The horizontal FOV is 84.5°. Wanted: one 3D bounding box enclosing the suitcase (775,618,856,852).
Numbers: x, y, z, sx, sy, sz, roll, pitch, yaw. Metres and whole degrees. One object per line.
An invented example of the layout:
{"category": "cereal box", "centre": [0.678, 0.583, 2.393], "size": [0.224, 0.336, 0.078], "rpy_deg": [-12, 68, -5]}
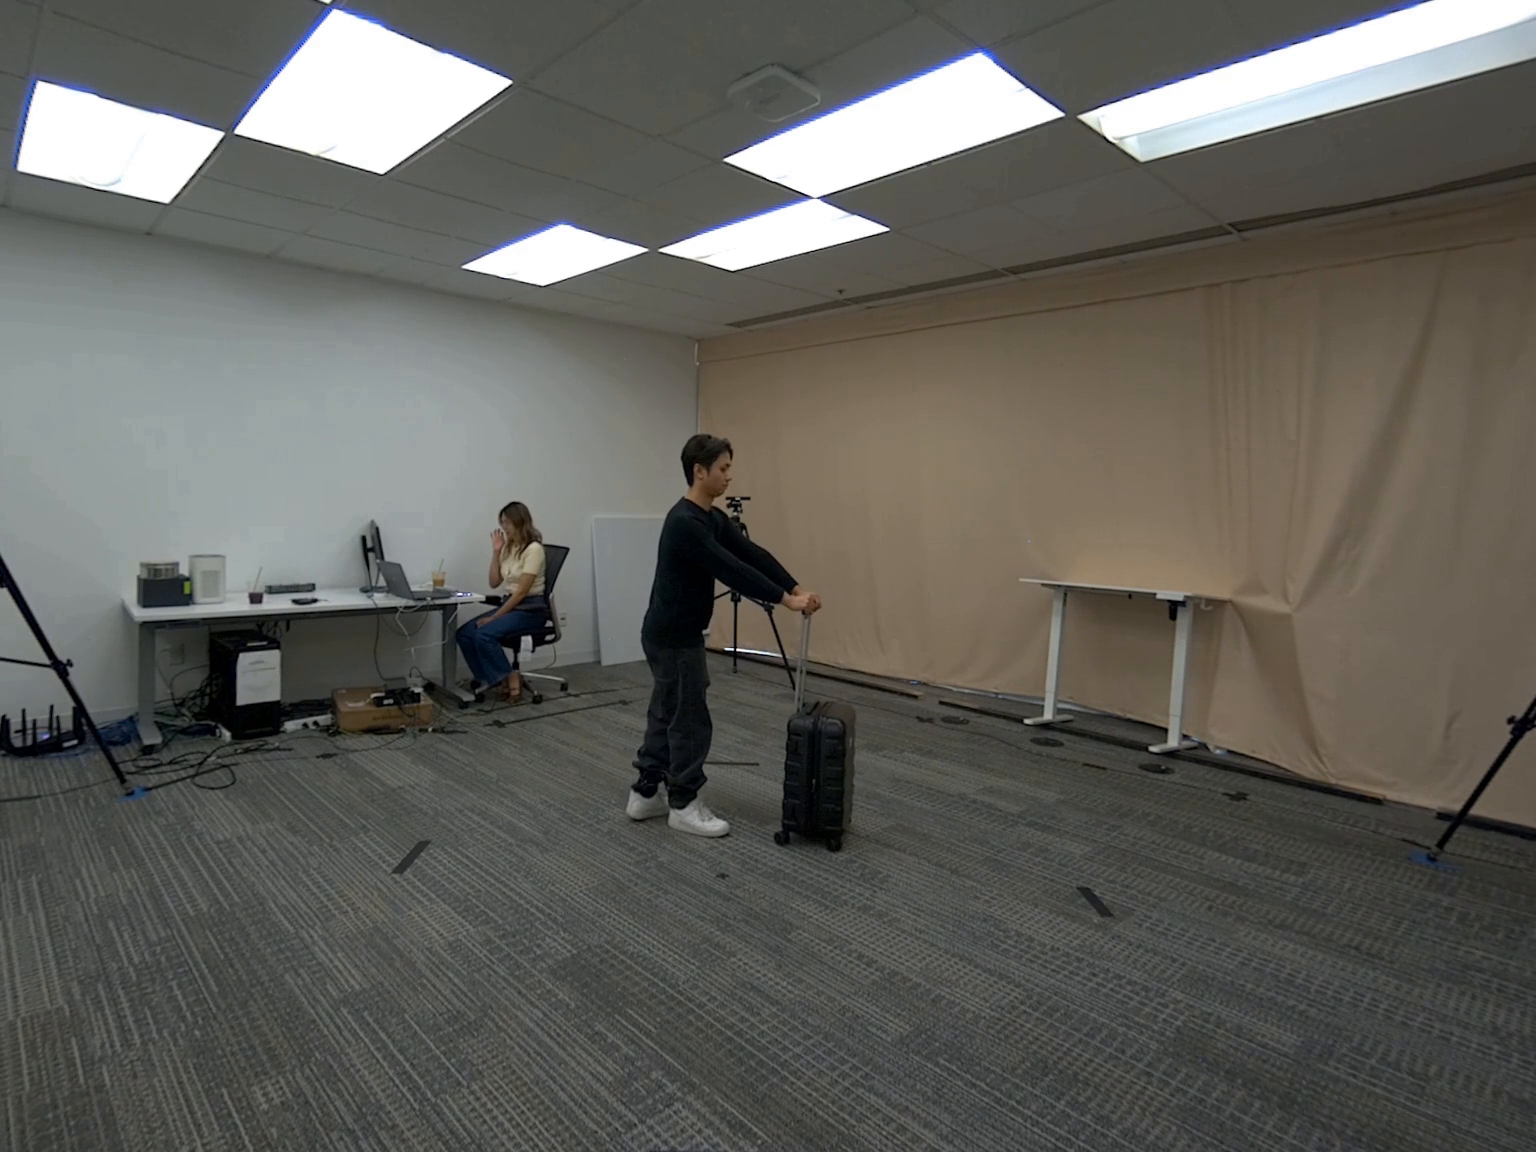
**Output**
{"category": "suitcase", "centre": [0.221, 0.606, 3.477], "size": [0.260, 0.975, 0.380], "rpy_deg": [6, 5, 14]}
